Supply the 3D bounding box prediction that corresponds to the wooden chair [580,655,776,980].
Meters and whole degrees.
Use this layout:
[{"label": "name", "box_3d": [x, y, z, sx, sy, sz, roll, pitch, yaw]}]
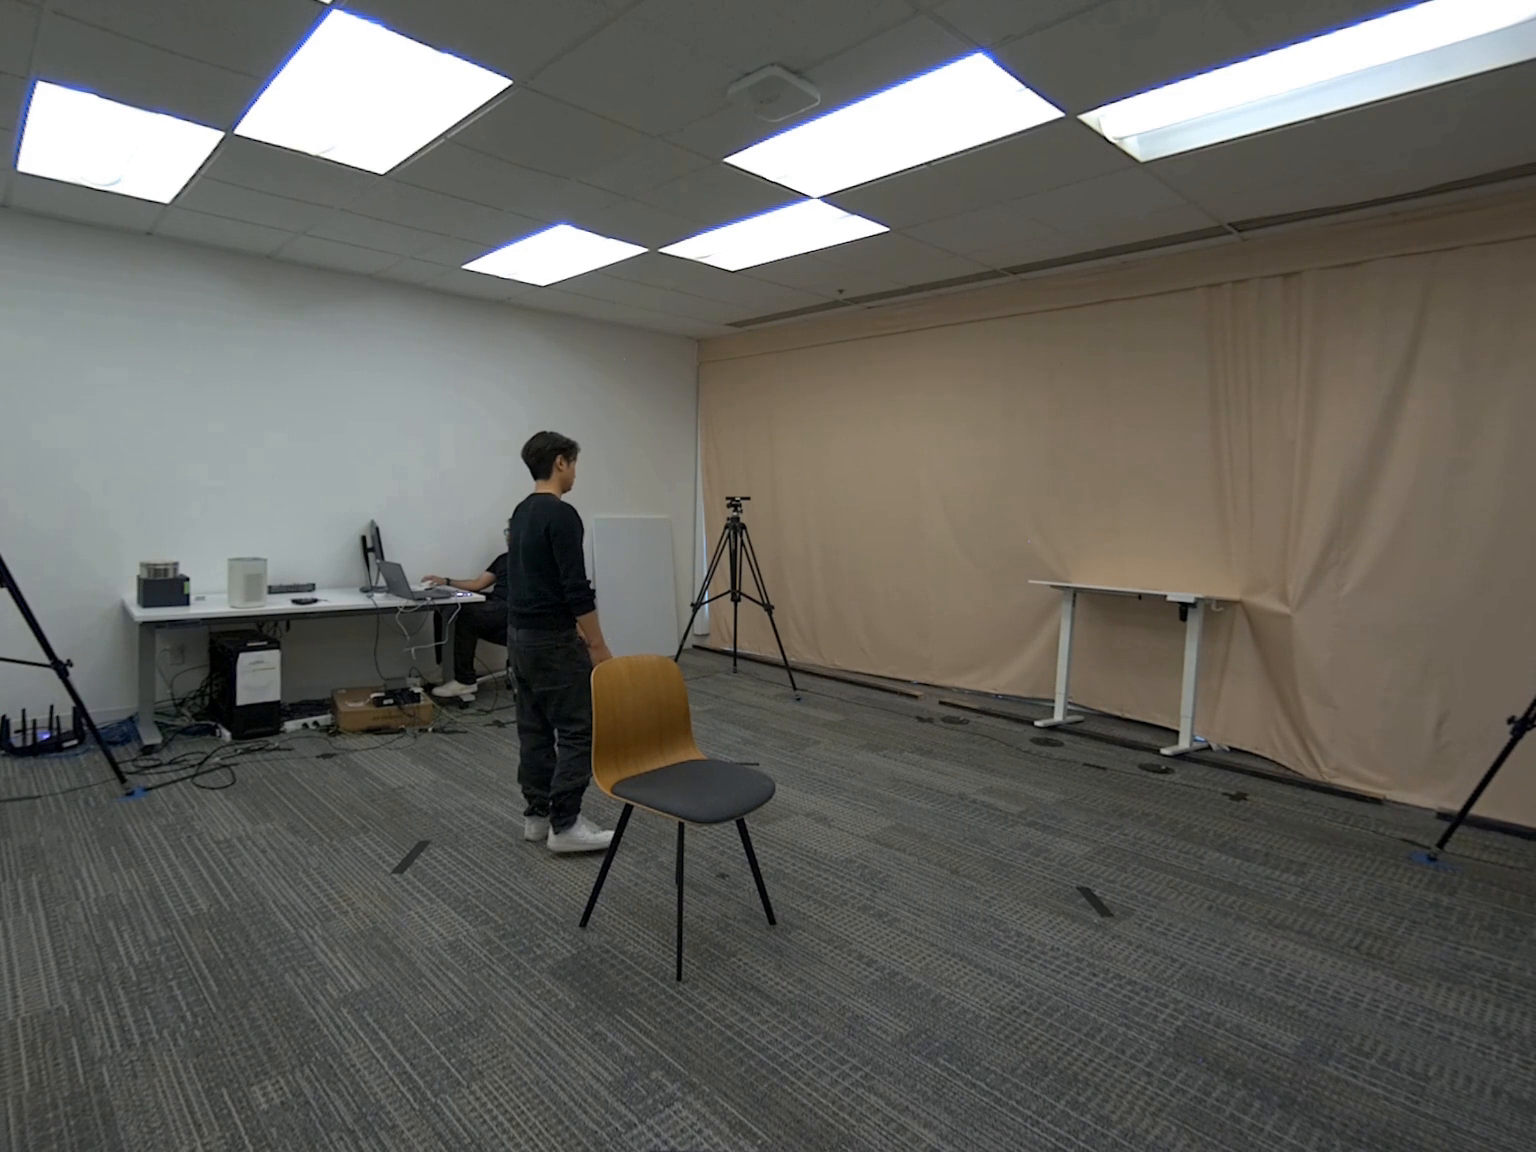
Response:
[{"label": "wooden chair", "box_3d": [-0.279, 0.712, 2.695, 0.535, 0.877, 0.467, -2, 0, 40]}]
